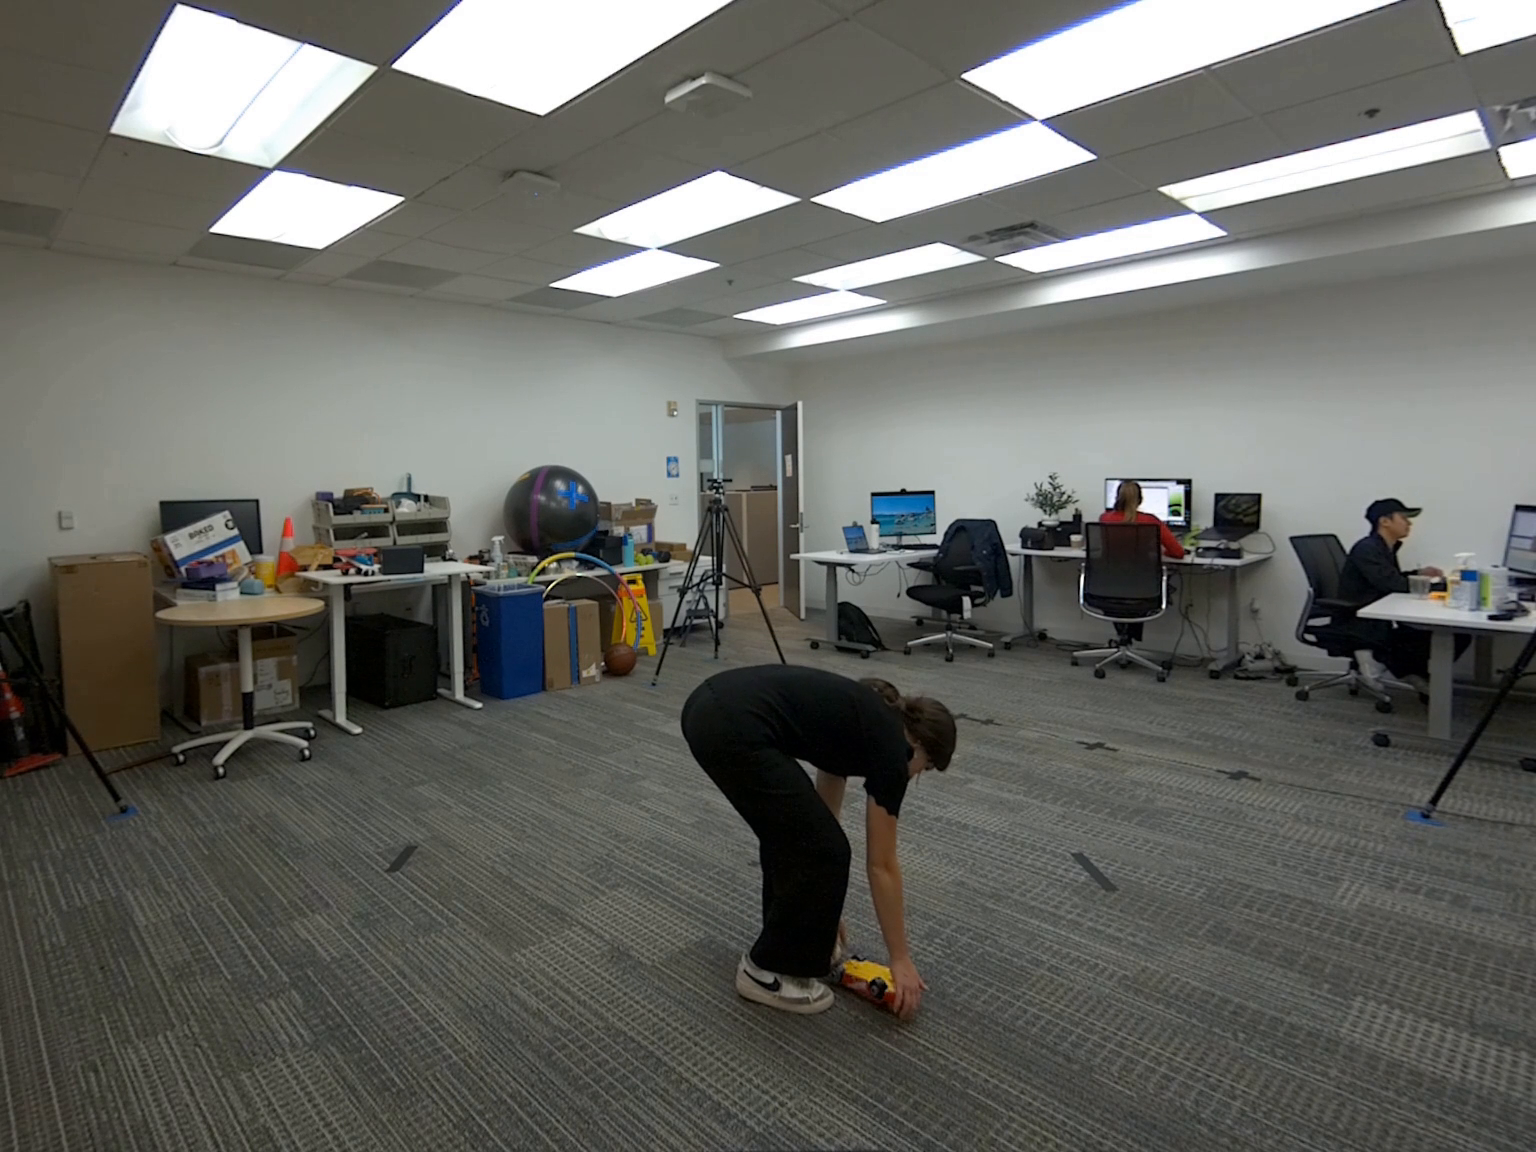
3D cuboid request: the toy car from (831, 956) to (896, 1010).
[{"bbox_3d":[0.299,1.094,2.299,0.127,0.083,0.262,-7,9,-40],"label":"toy car"}]
